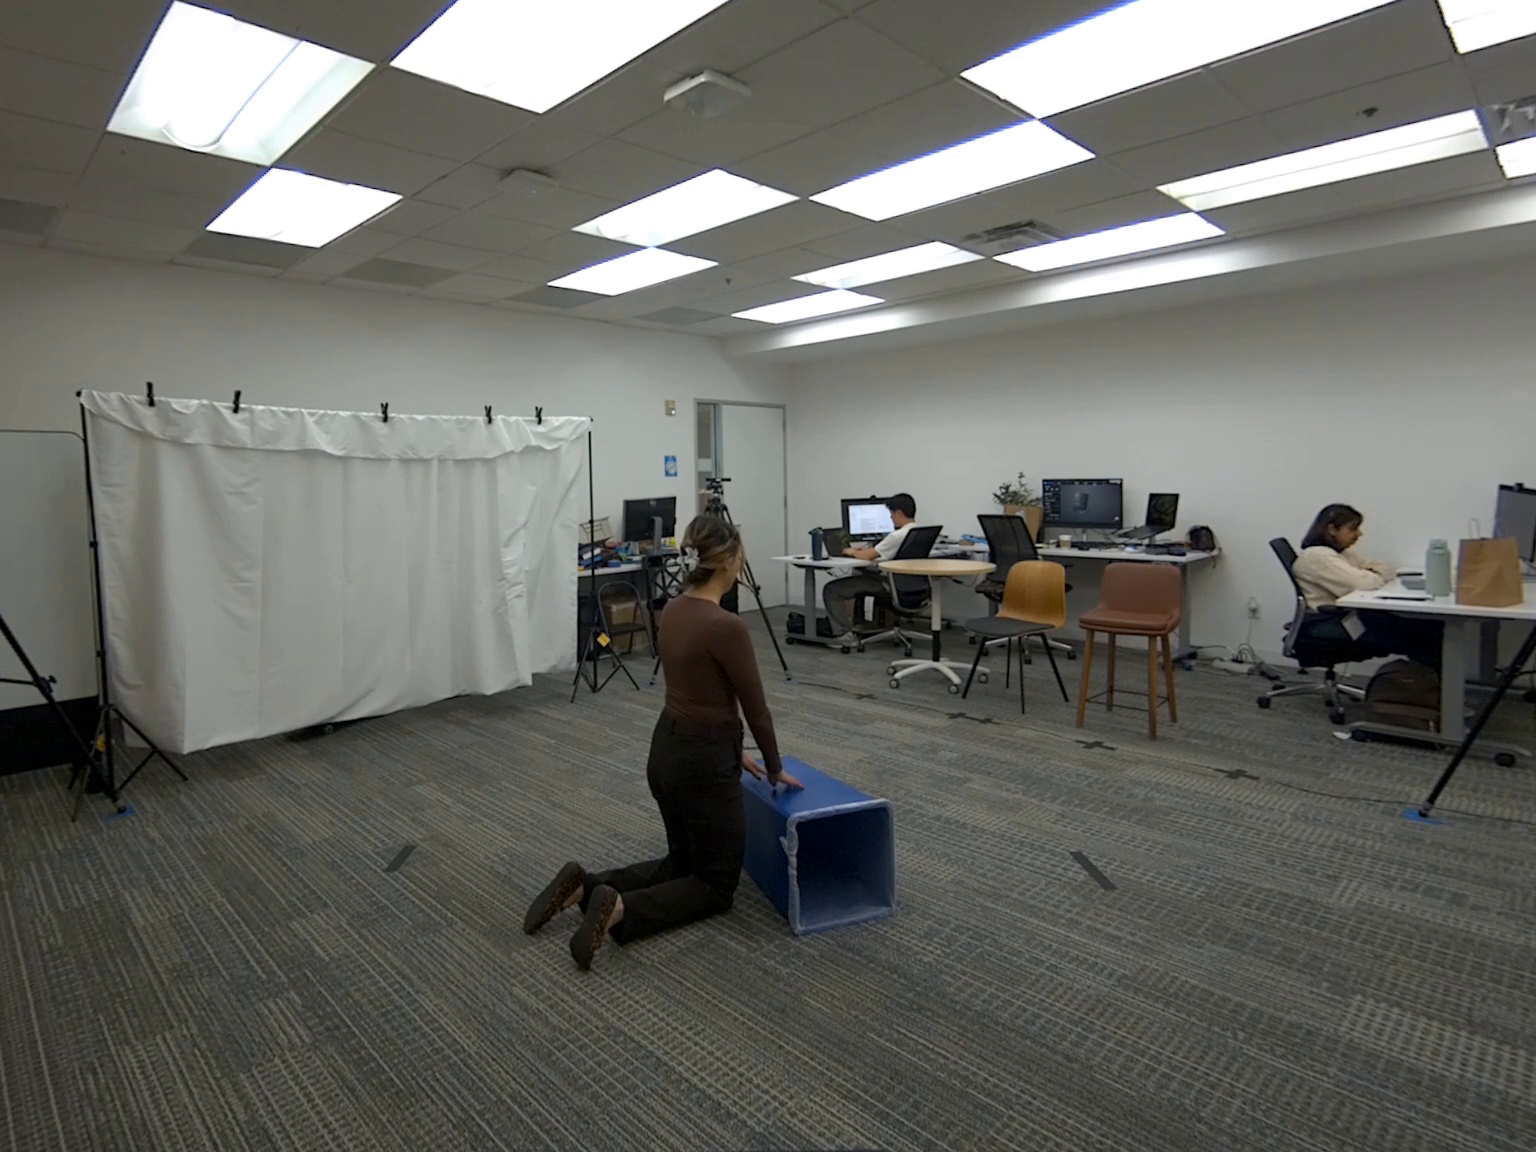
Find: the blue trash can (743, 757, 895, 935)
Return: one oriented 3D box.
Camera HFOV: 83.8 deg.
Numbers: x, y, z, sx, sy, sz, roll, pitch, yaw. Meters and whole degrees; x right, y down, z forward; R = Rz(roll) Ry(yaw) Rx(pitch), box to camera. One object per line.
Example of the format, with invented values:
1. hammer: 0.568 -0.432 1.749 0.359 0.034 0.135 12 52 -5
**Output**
1. blue trash can: 0.104 0.878 2.988 0.367 0.377 0.729 -4 5 -21
